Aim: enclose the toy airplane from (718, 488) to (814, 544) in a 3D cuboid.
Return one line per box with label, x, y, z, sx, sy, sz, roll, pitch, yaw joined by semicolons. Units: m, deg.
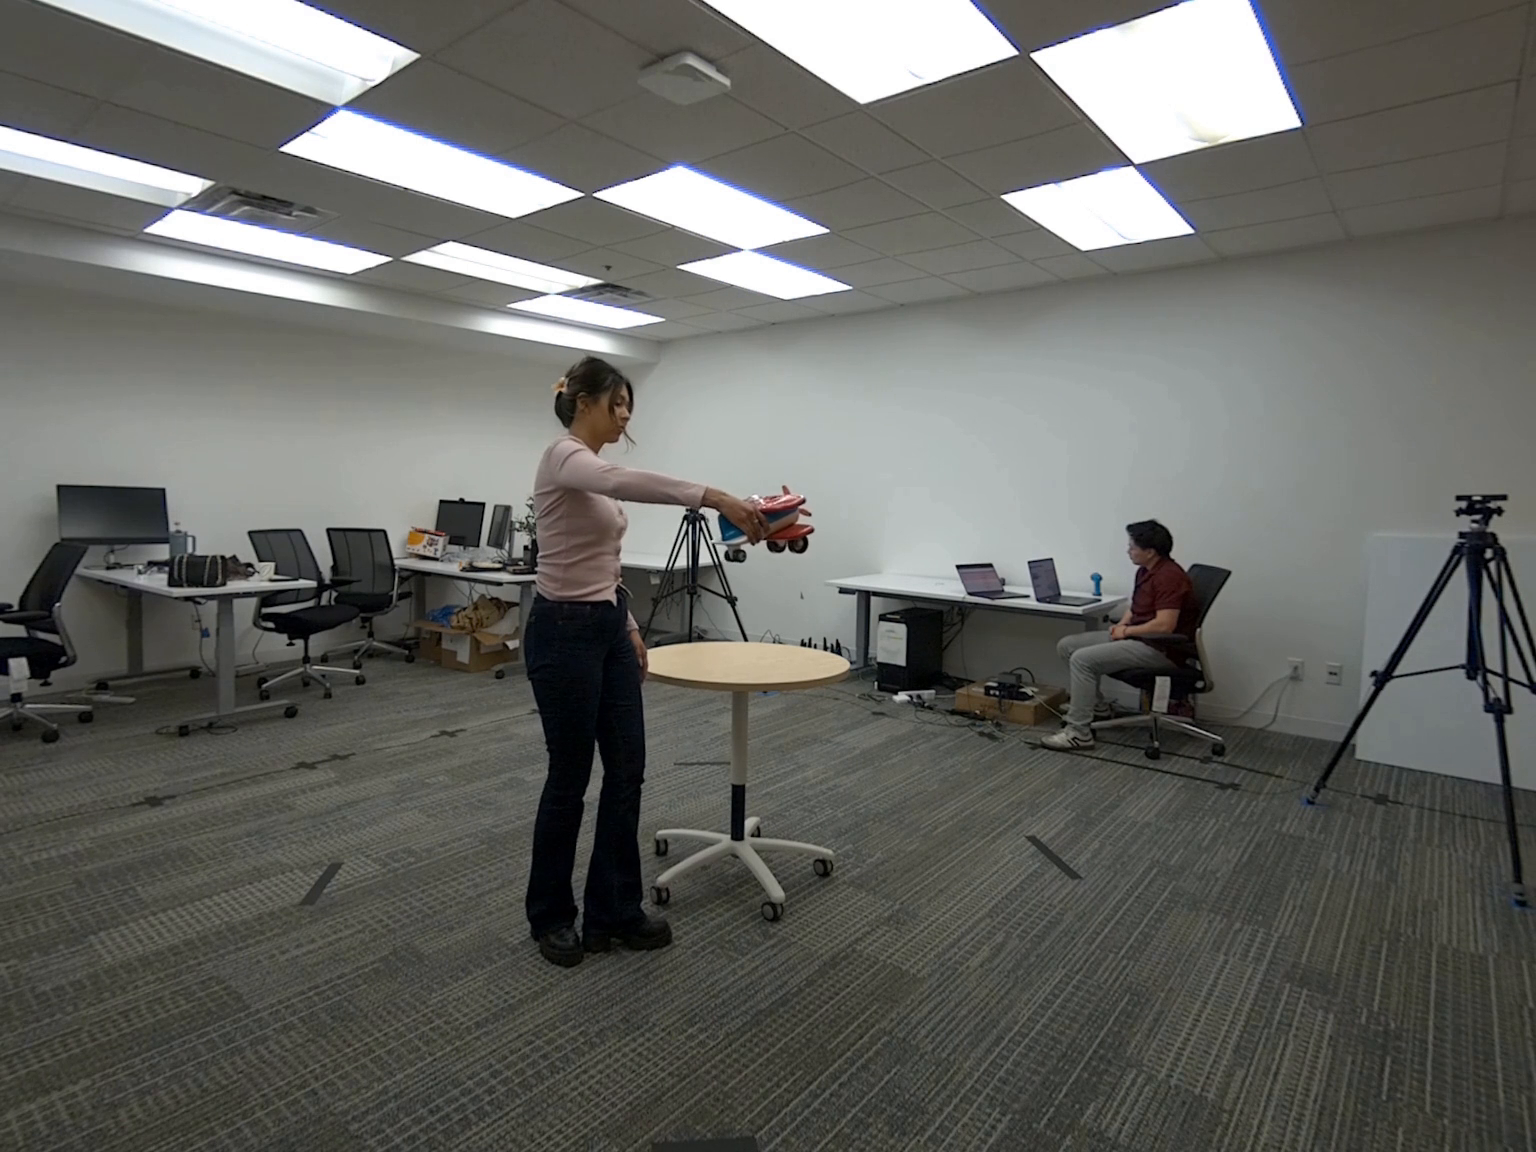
toy airplane;-0.012;-0.123;2.178;0.257;0.156;0.254;-3;7;26
